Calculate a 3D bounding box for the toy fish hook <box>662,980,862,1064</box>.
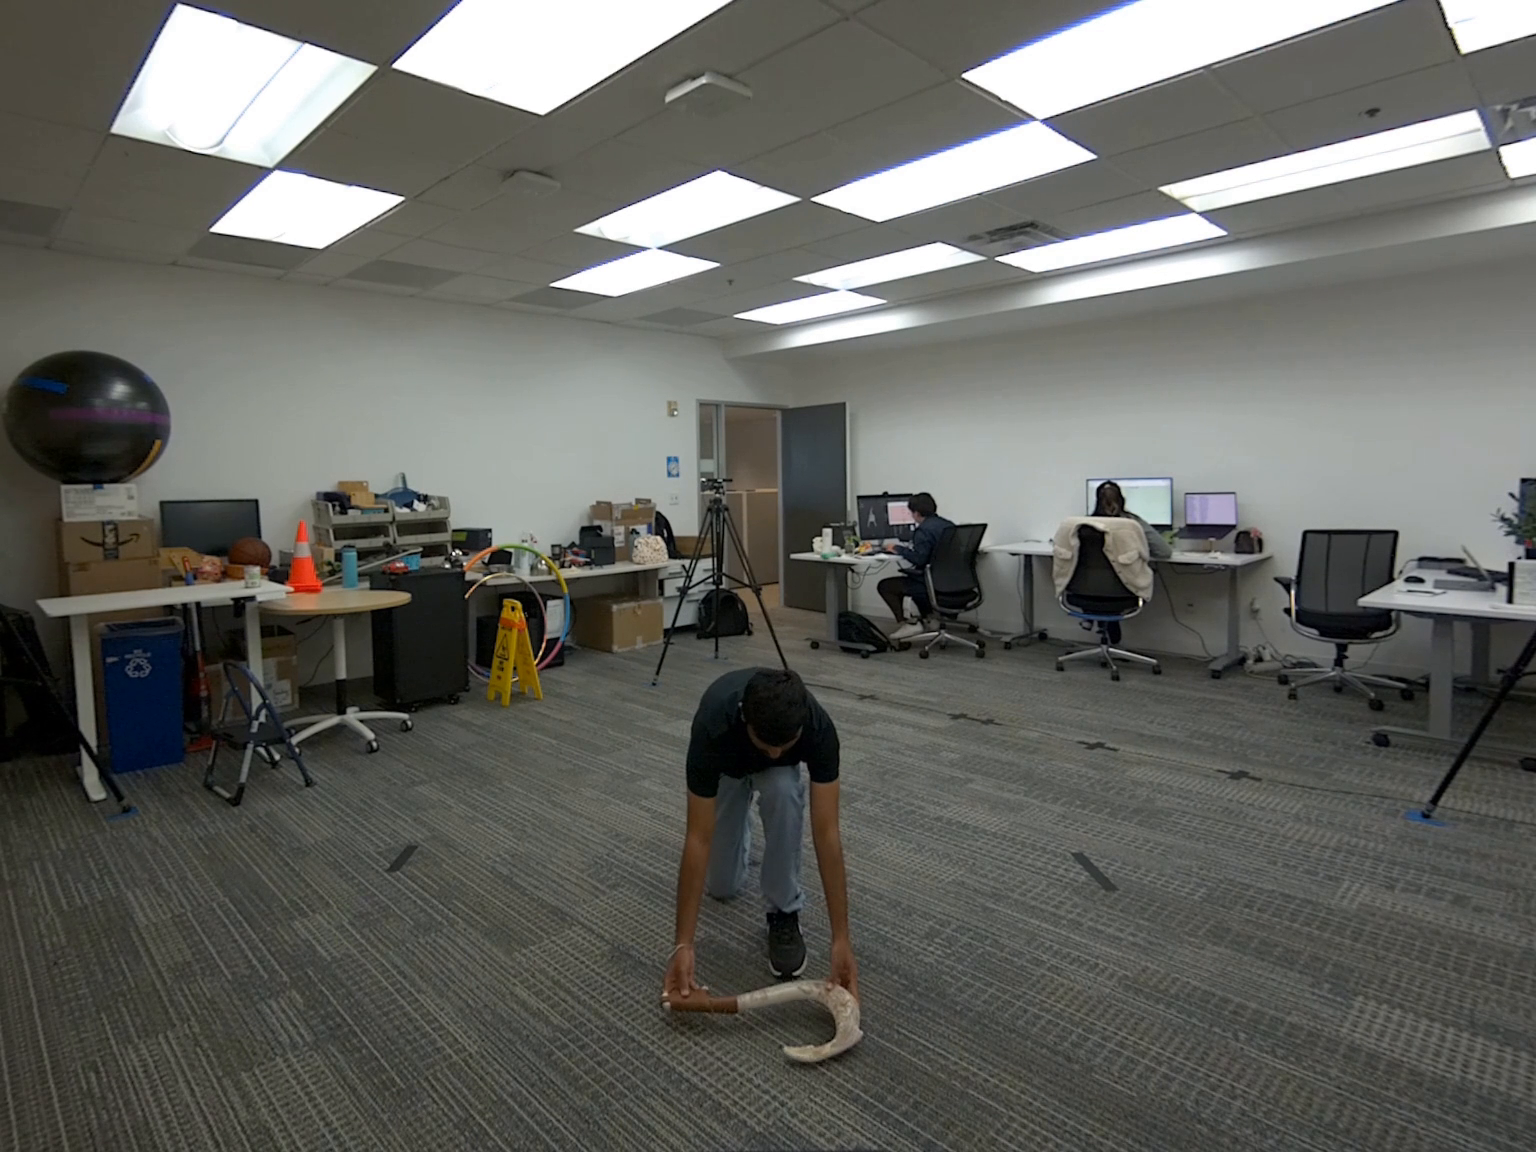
[{"bbox_3d":[-0.026,1.100,2.139,0.508,0.047,0.227,-2,17,3],"label":"toy fish hook"}]
